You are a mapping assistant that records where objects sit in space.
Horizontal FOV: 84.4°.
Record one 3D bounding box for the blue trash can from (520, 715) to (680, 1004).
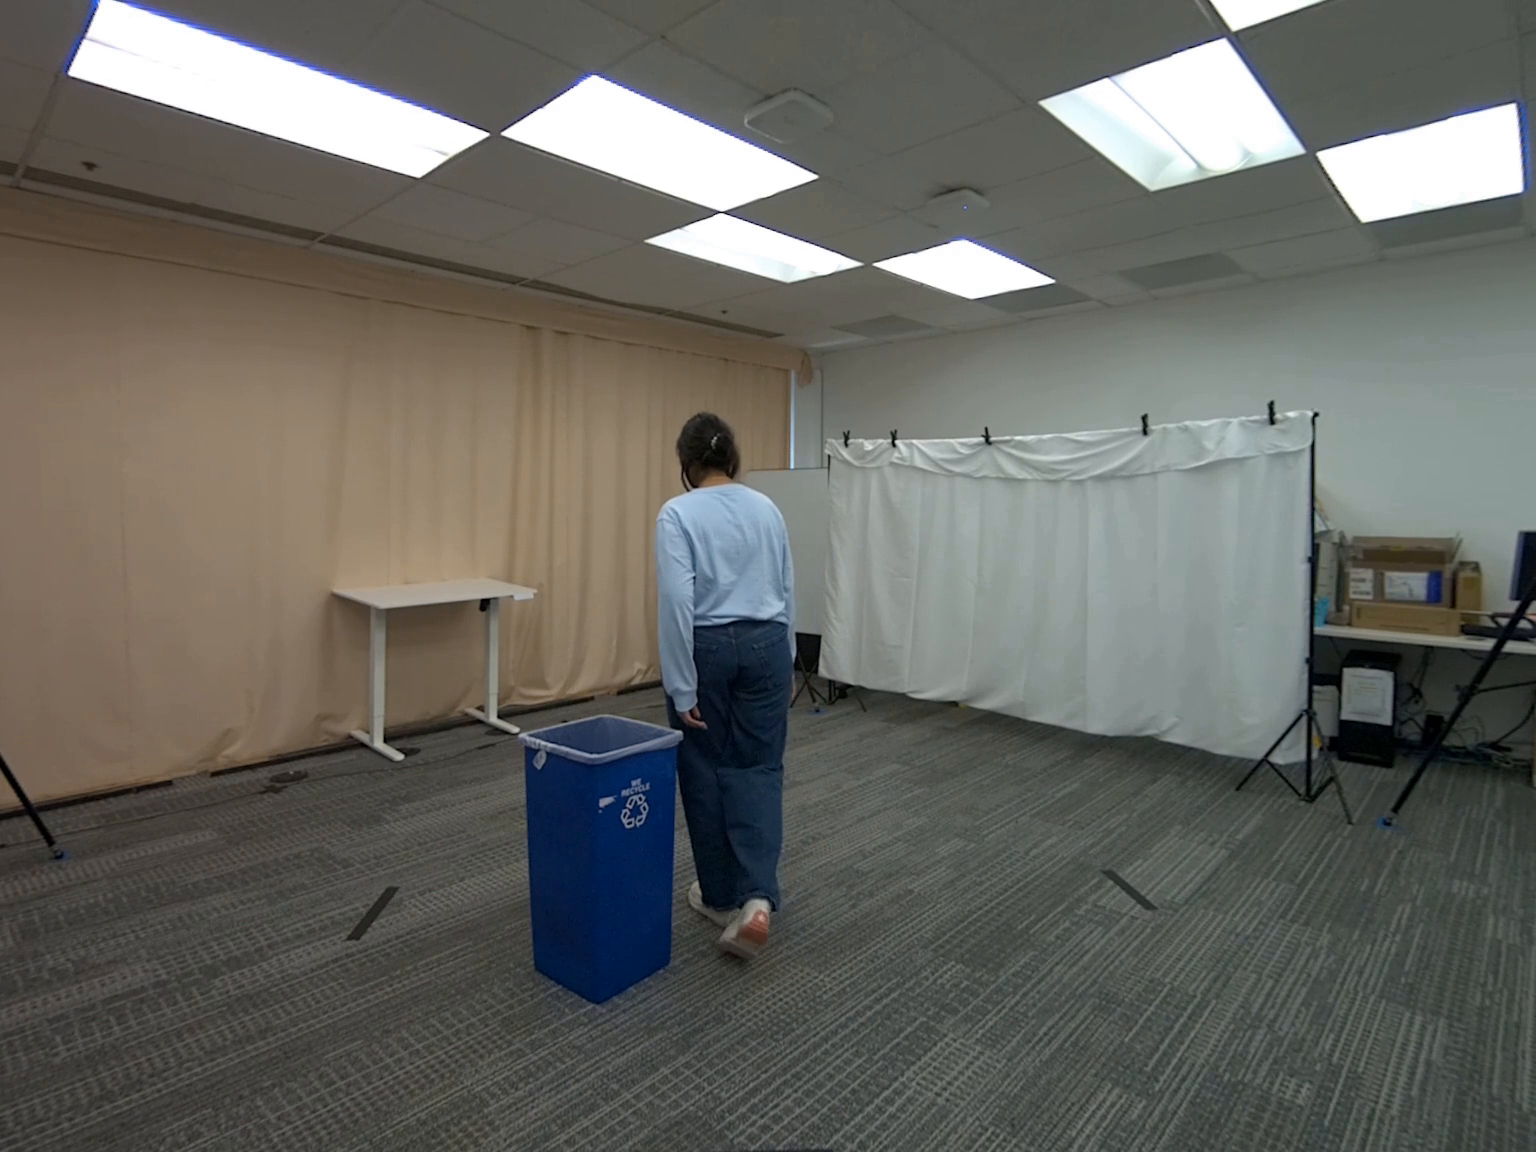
[{"bbox_3d":[-0.494,0.828,2.538,0.386,0.713,0.366,1,2,39],"label":"blue trash can"}]
